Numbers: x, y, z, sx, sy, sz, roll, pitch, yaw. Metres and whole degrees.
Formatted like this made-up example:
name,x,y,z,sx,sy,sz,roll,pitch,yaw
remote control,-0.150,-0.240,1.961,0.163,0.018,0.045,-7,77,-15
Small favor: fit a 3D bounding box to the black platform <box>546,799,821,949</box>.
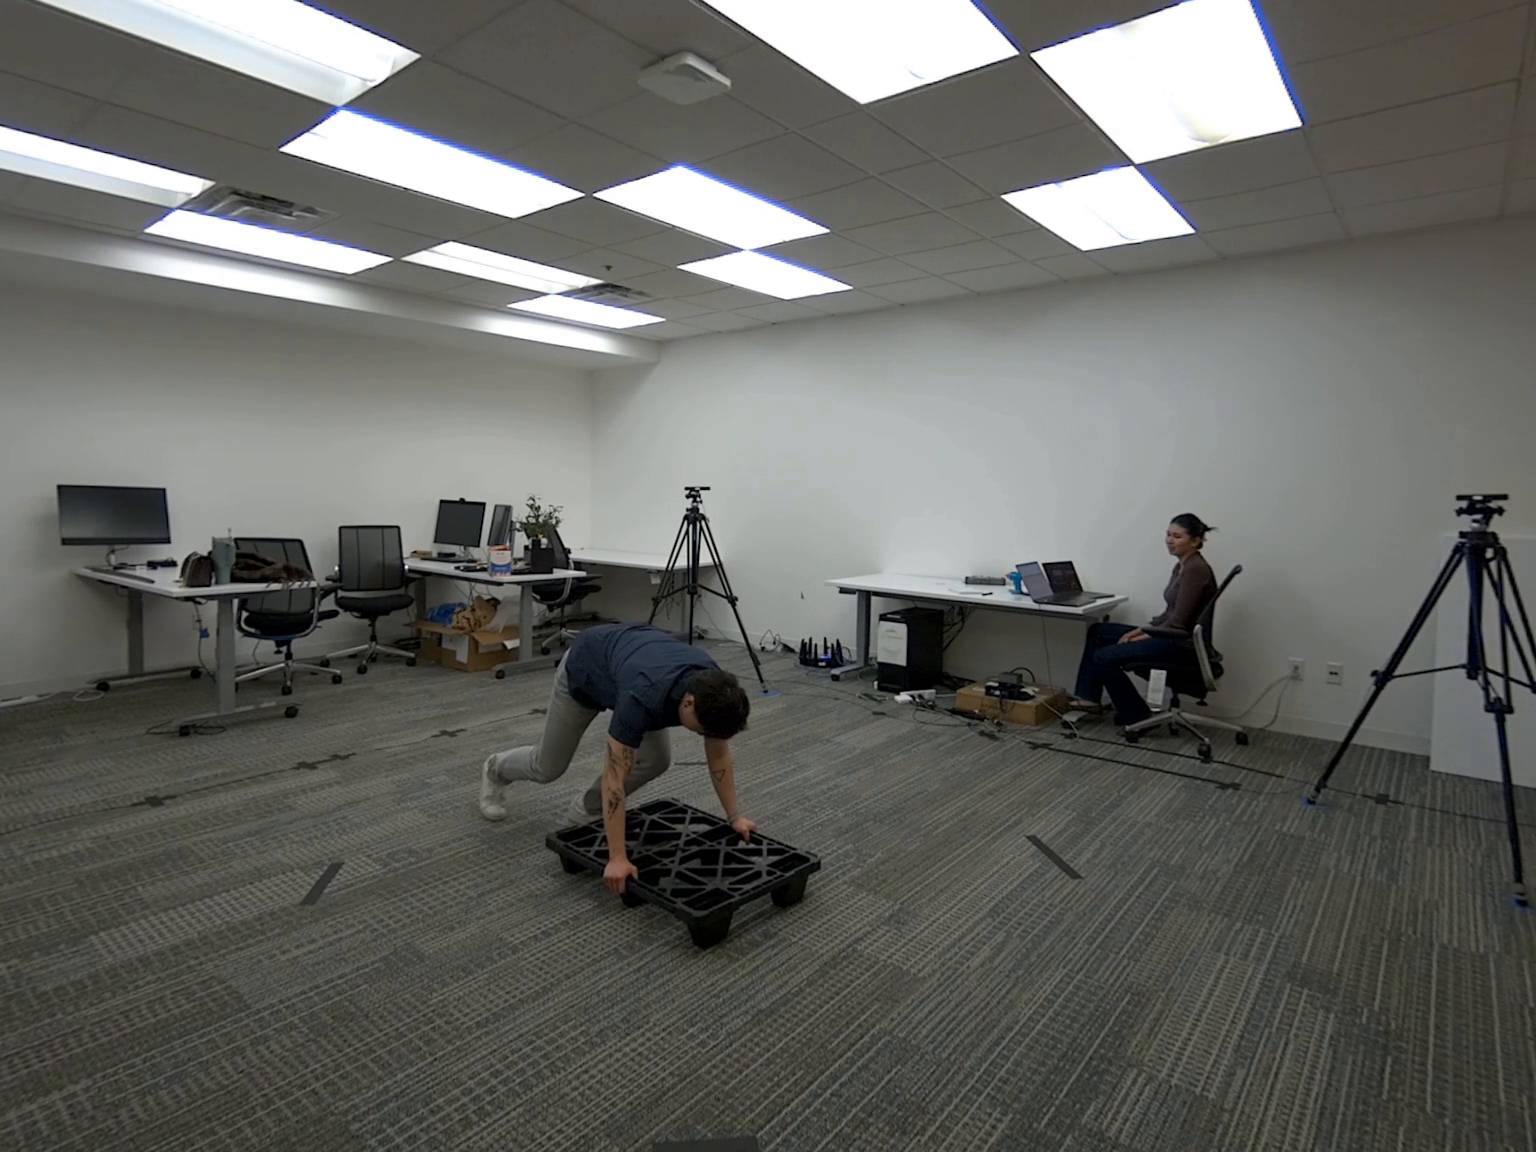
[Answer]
name,x,y,z,sx,sy,sz,roll,pitch,yaw
black platform,-0.312,1.010,2.967,0.833,0.143,0.587,5,8,42
